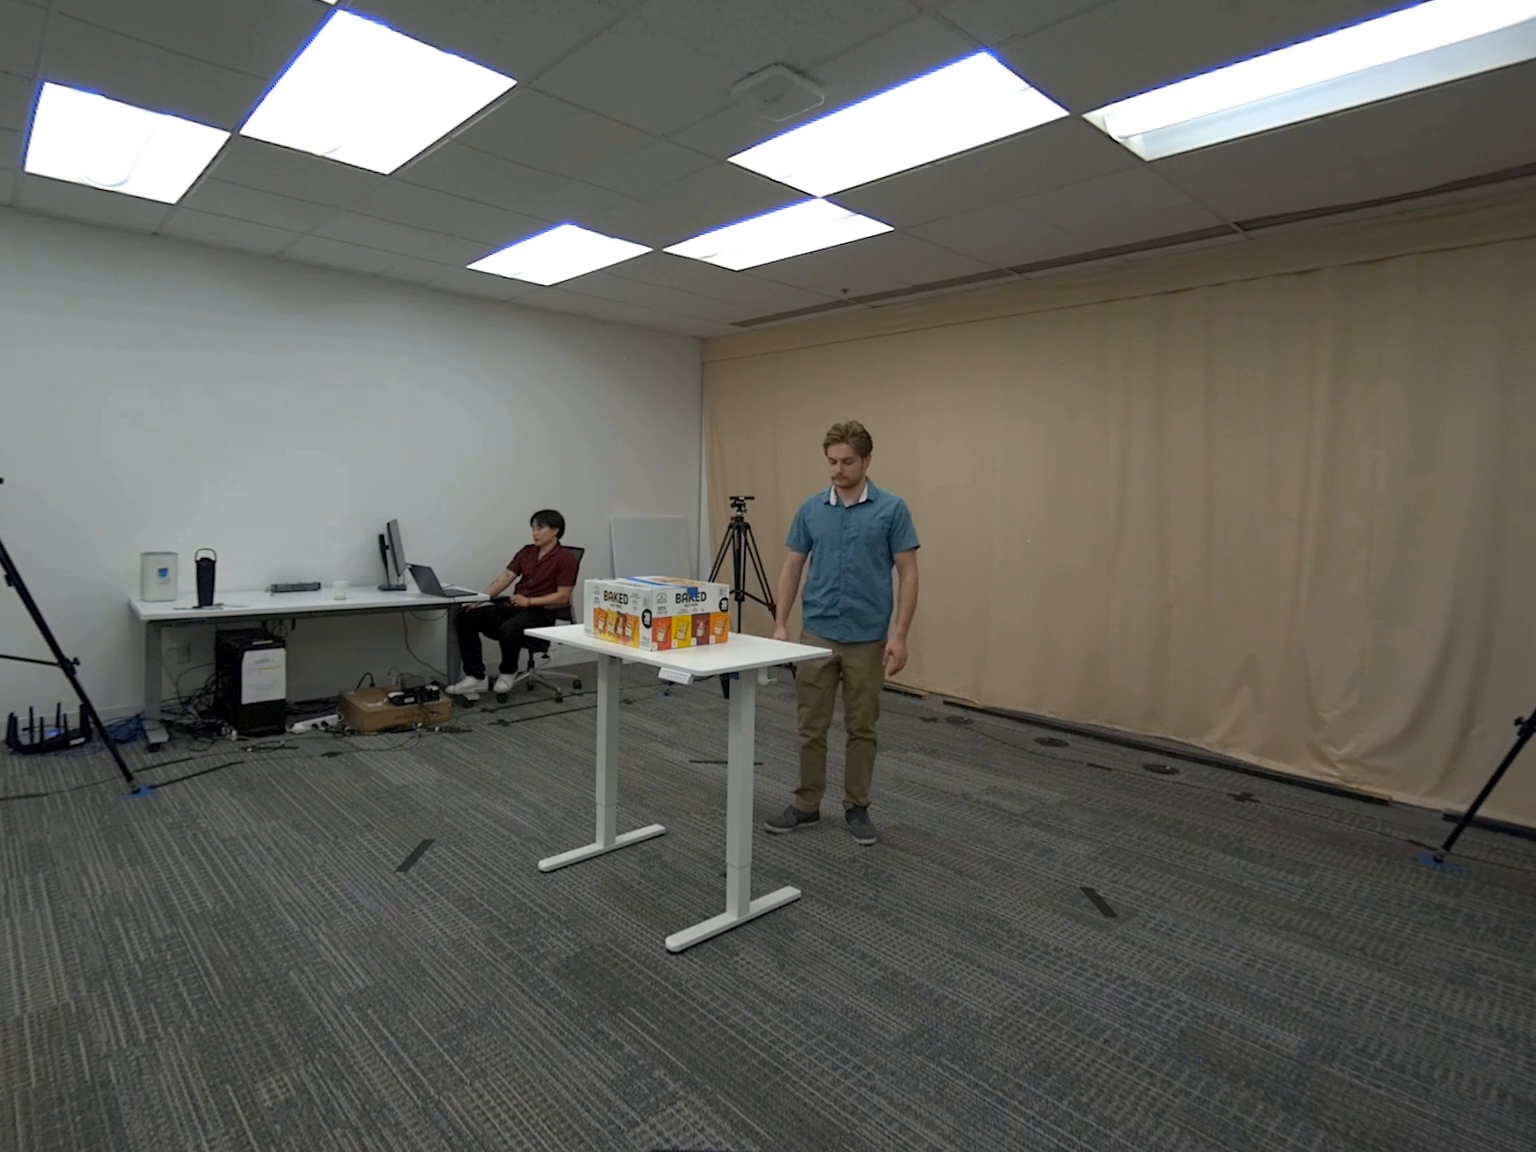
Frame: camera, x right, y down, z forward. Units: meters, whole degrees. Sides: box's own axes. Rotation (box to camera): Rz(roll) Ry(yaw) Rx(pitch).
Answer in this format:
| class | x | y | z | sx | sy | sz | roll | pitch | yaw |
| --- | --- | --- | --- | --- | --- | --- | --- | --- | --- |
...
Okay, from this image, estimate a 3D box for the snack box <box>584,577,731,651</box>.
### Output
| class | x | y | z | sx | sy | sz | roll | pitch | yaw |
| --- | --- | --- | --- | --- | --- | --- | --- | --- | --- |
| snack box | -0.406 | 0.124 | 2.992 | 0.332 | 0.205 | 0.415 | -2 | 5 | -44 |
